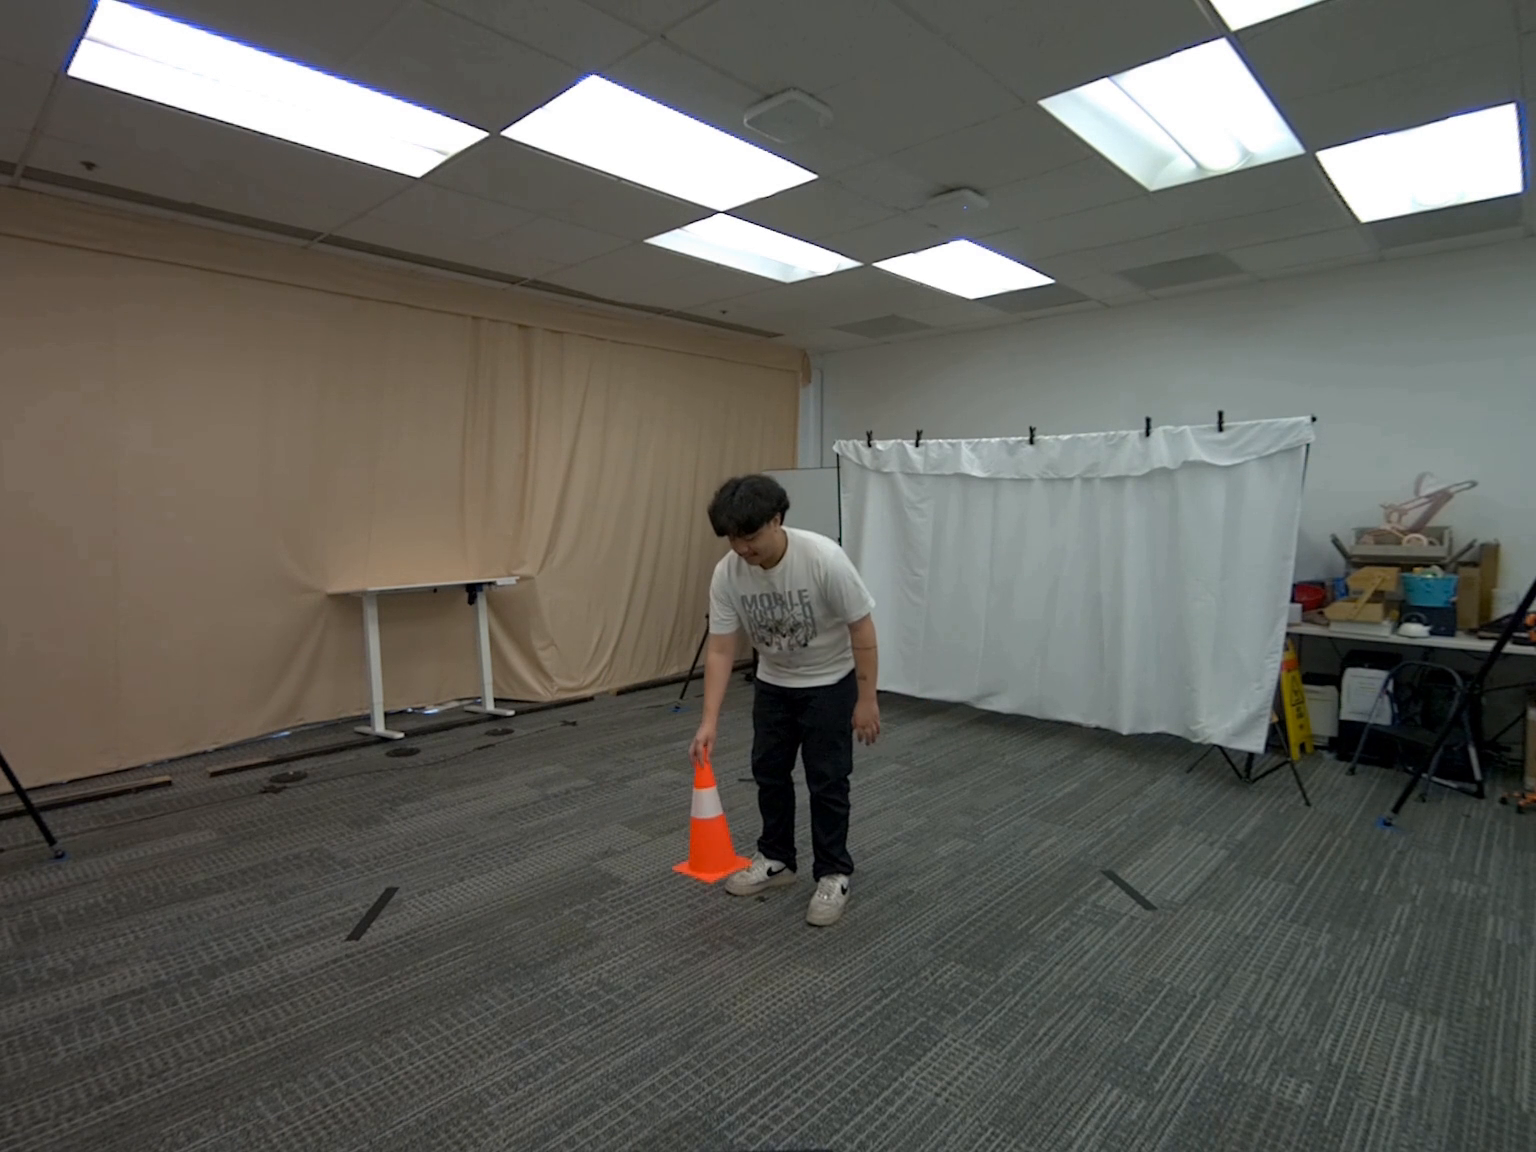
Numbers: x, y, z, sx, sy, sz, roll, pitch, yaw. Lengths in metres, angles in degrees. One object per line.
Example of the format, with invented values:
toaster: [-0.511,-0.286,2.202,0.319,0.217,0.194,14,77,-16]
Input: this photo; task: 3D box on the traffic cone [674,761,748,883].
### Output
traffic cone: [-0.197,0.745,2.713,0.197,0.384,0.211,-3,-2,-42]
